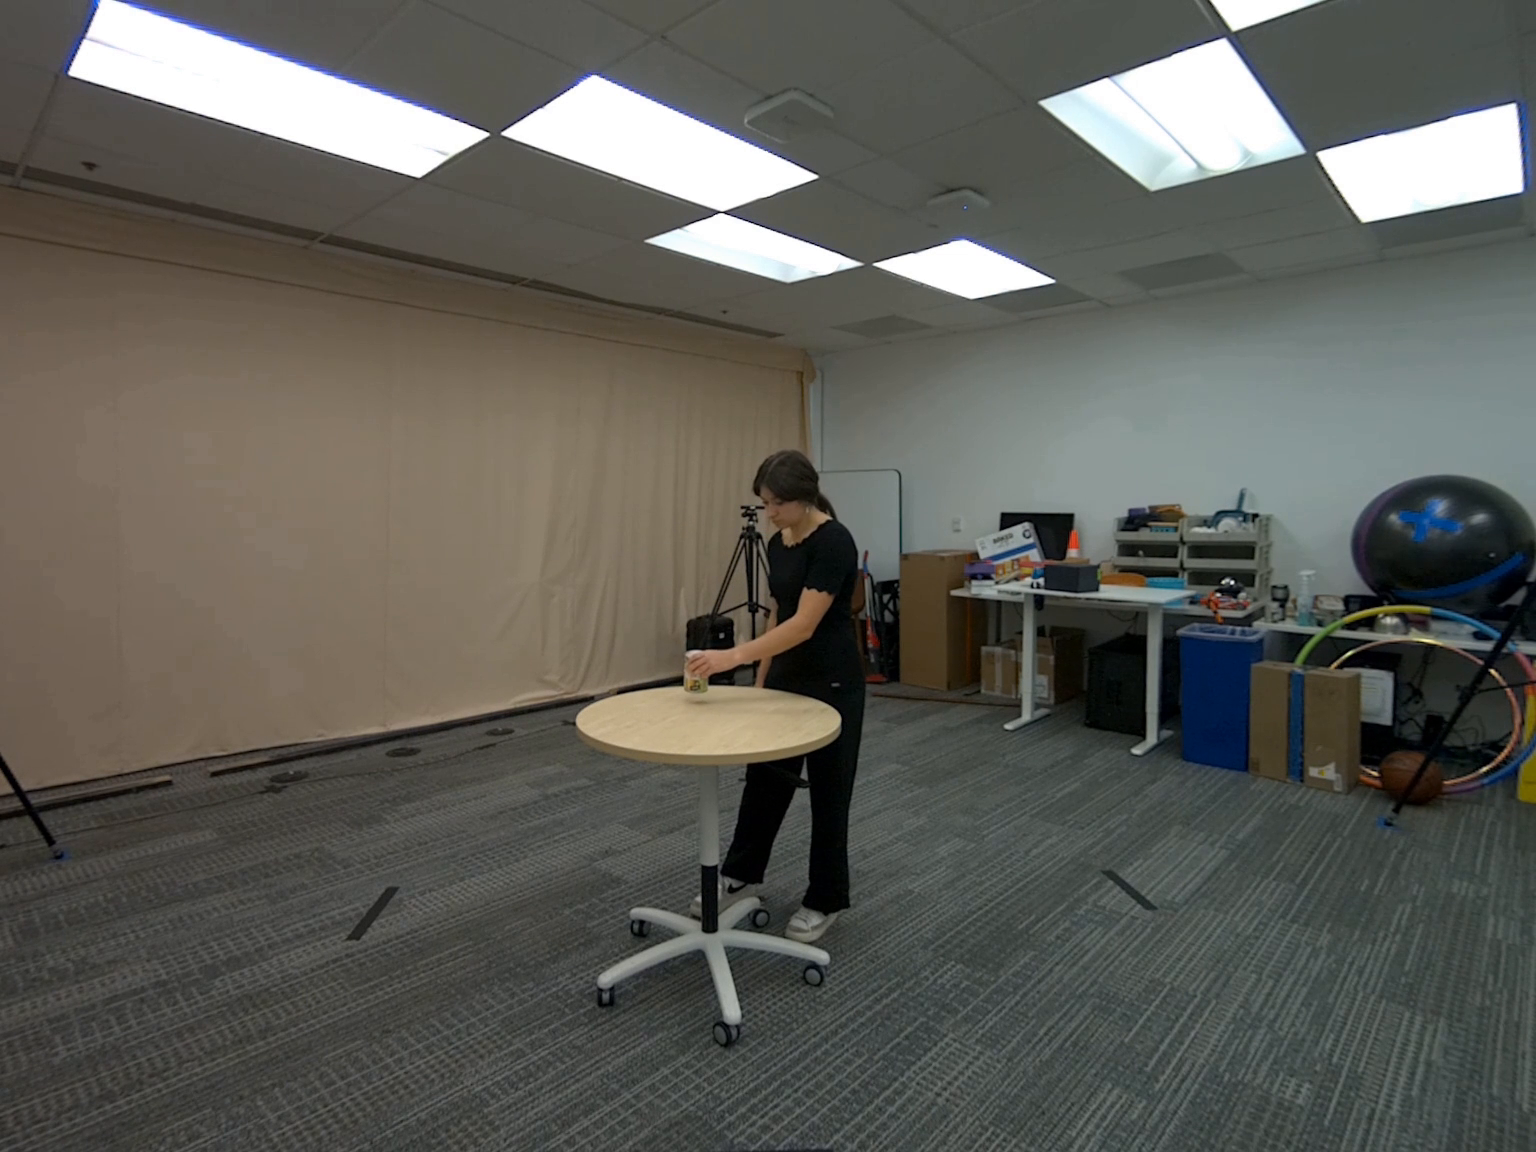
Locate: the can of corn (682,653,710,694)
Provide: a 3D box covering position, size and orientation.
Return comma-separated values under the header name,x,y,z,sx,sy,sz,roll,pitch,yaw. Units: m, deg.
name,x,y,z,sx,sy,sz,roll,pitch,yaw
can of corn,-0.213,0.300,2.591,0.074,0.110,0.075,2,9,-2
